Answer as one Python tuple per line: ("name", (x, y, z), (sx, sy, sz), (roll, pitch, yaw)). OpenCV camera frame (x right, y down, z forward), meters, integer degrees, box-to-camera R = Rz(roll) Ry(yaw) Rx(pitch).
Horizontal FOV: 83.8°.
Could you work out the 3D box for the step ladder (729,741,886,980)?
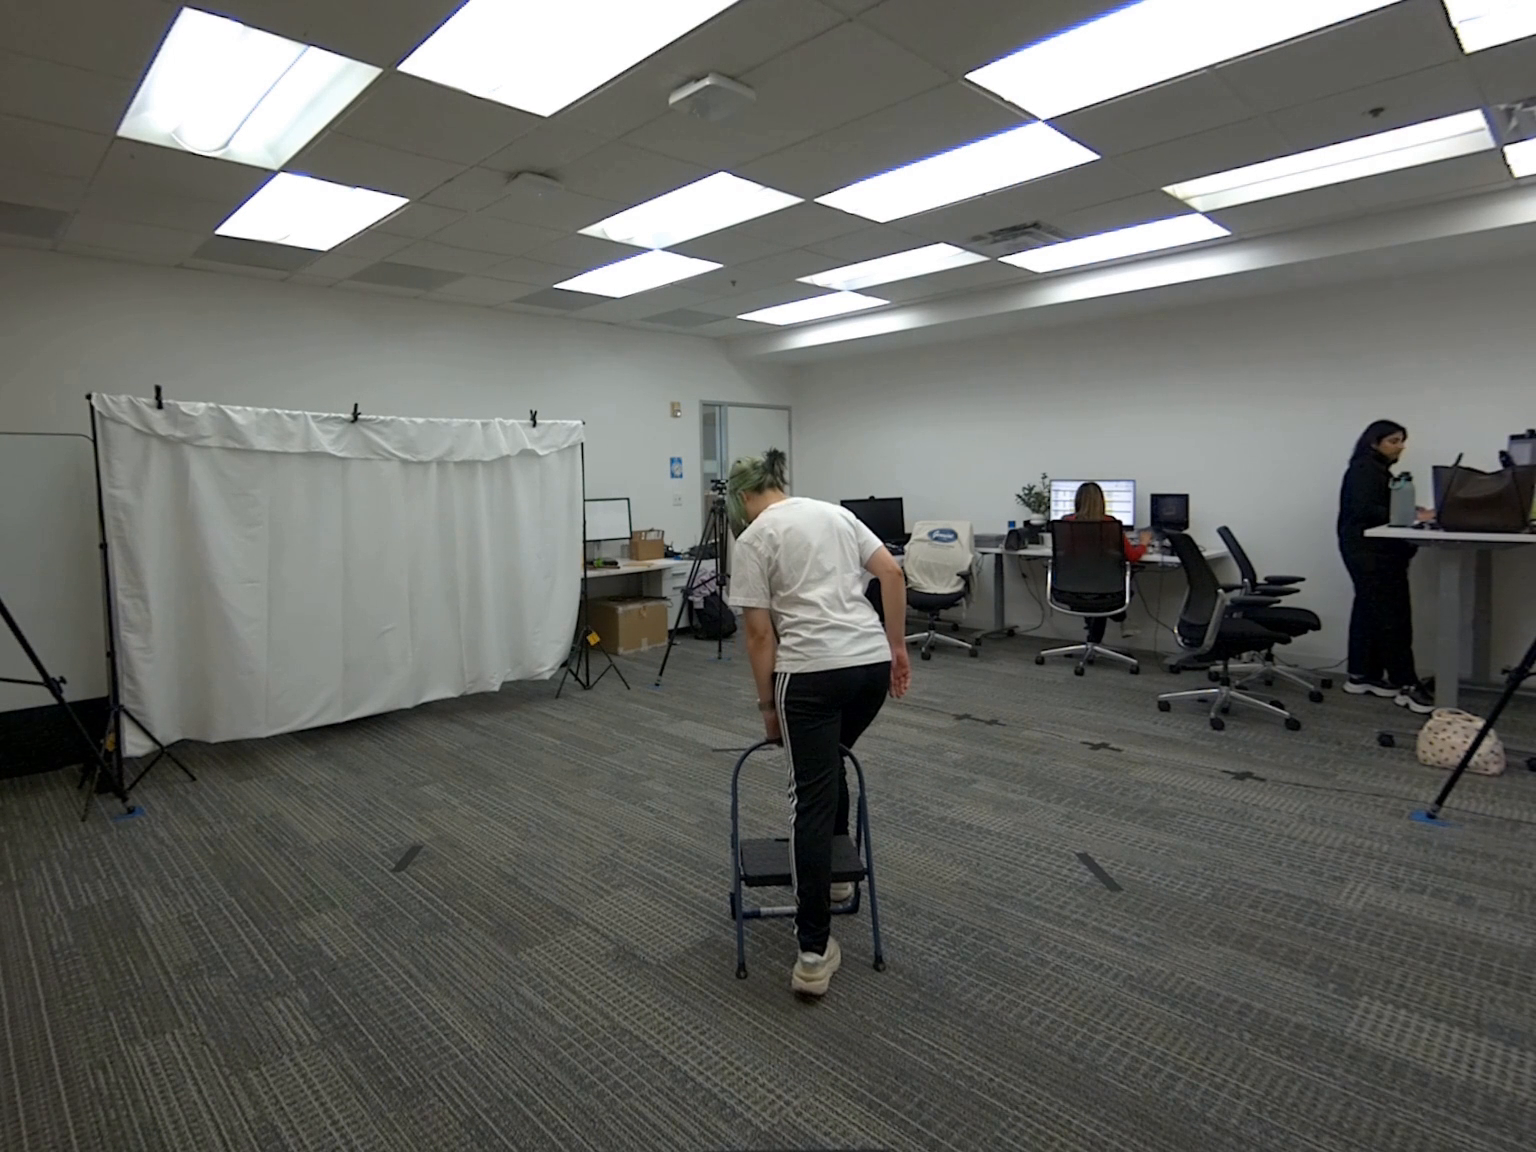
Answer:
("step ladder", (0.101, 0.810, 2.560), (0.429, 0.603, 0.352), (-1, 5, -4))
